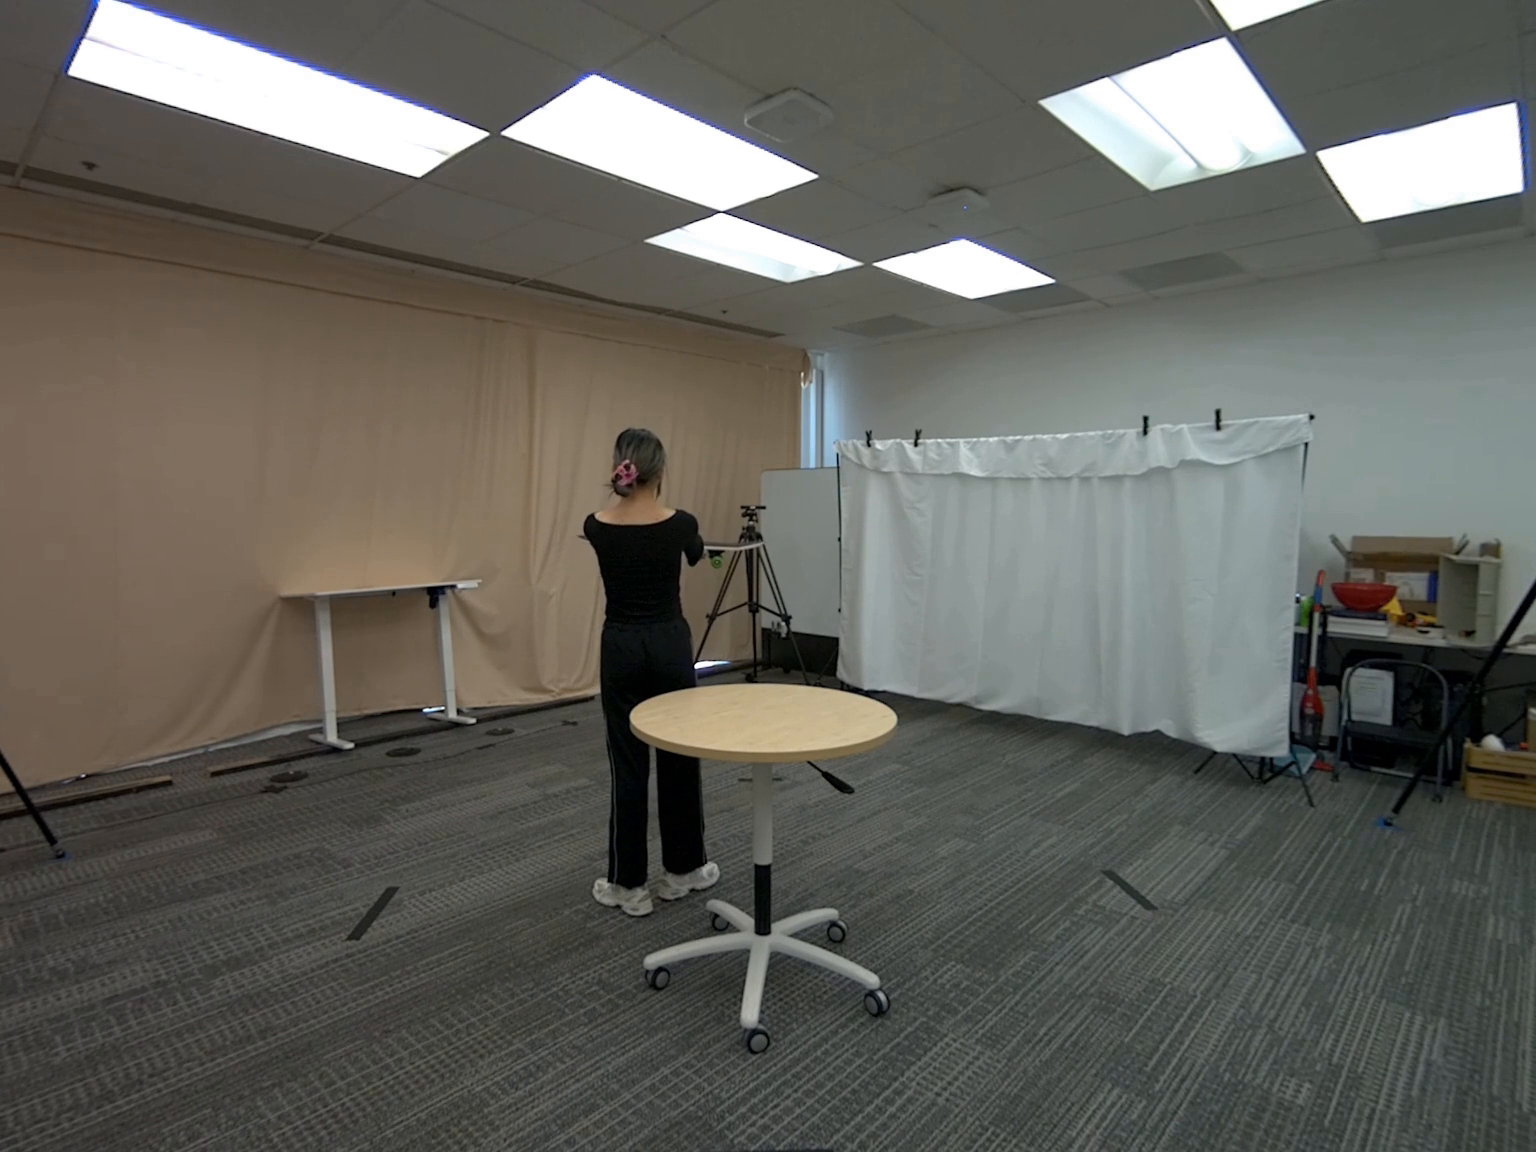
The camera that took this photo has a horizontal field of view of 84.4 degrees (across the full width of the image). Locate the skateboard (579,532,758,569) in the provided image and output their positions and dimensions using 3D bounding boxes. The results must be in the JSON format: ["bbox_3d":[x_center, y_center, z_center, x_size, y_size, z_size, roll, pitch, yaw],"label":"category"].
[{"bbox_3d":[-0.411,-0.104,3.557,0.786,0.110,0.194,2,7,1],"label":"skateboard"}]
